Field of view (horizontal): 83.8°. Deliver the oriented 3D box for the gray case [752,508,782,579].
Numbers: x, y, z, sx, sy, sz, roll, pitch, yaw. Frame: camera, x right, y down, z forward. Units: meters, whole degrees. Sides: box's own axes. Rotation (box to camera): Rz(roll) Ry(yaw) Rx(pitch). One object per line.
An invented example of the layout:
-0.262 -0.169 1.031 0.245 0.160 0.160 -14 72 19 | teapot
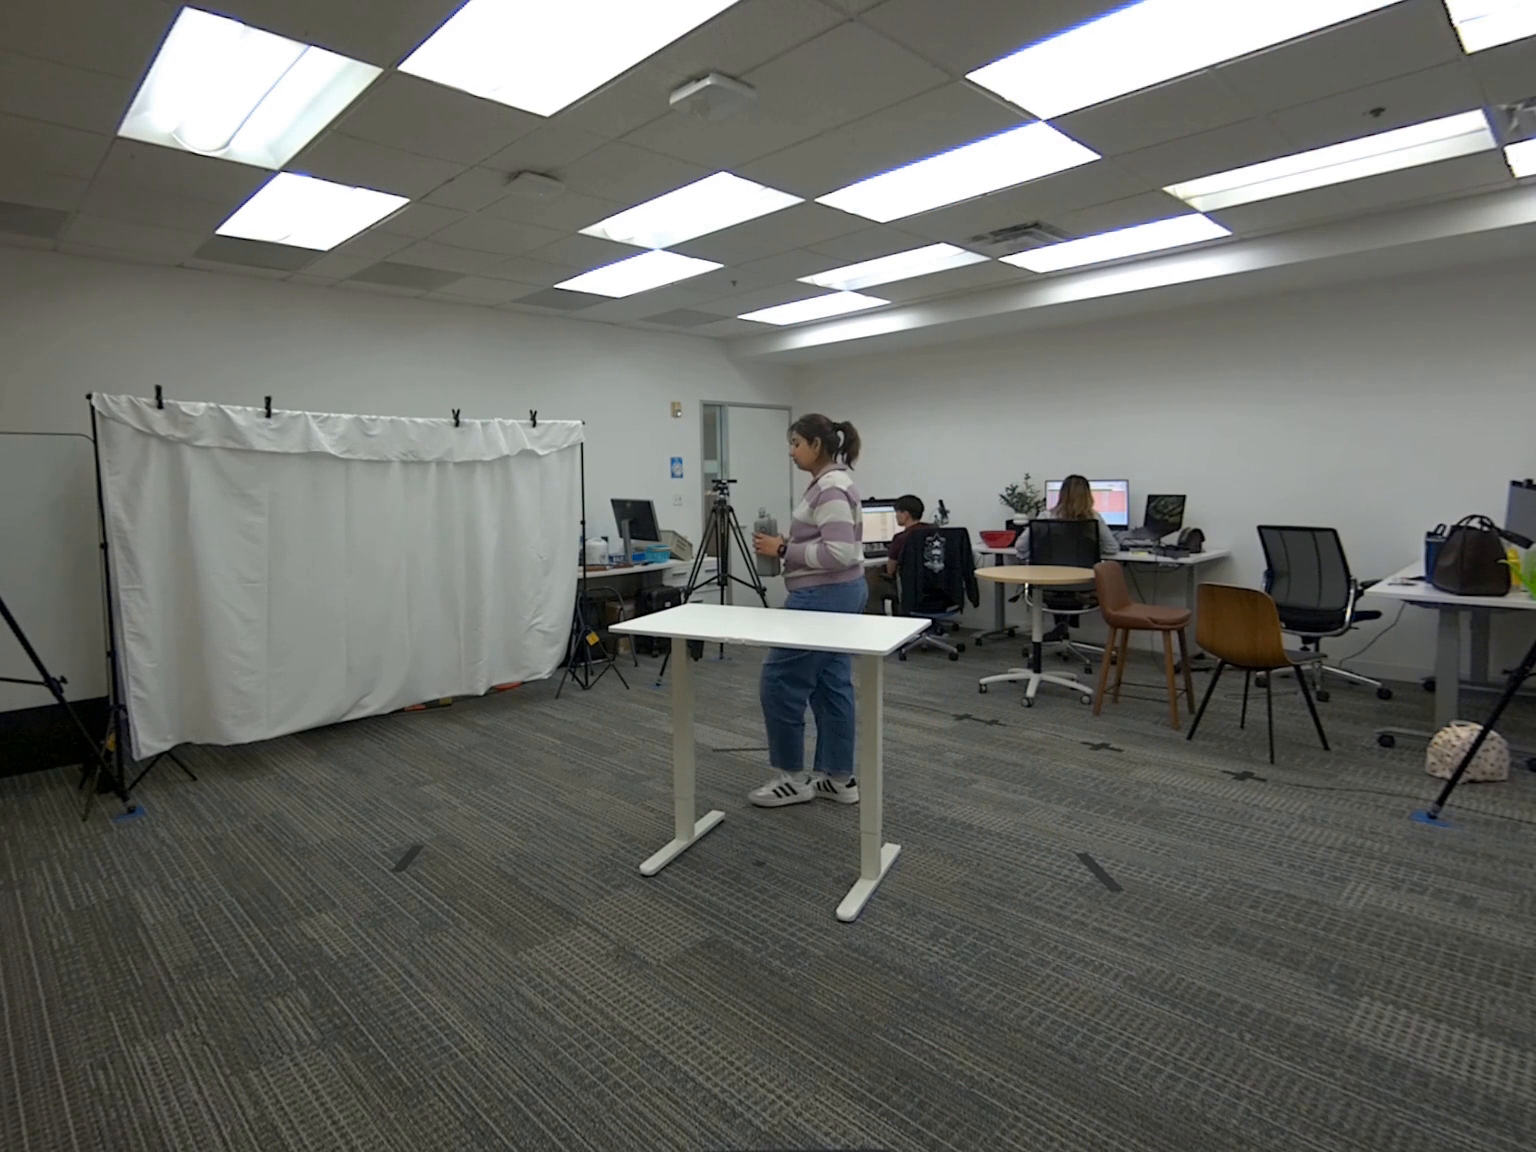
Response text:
-0.006 -0.137 3.739 0.104 0.260 0.257 -8 3 0 | gray case
